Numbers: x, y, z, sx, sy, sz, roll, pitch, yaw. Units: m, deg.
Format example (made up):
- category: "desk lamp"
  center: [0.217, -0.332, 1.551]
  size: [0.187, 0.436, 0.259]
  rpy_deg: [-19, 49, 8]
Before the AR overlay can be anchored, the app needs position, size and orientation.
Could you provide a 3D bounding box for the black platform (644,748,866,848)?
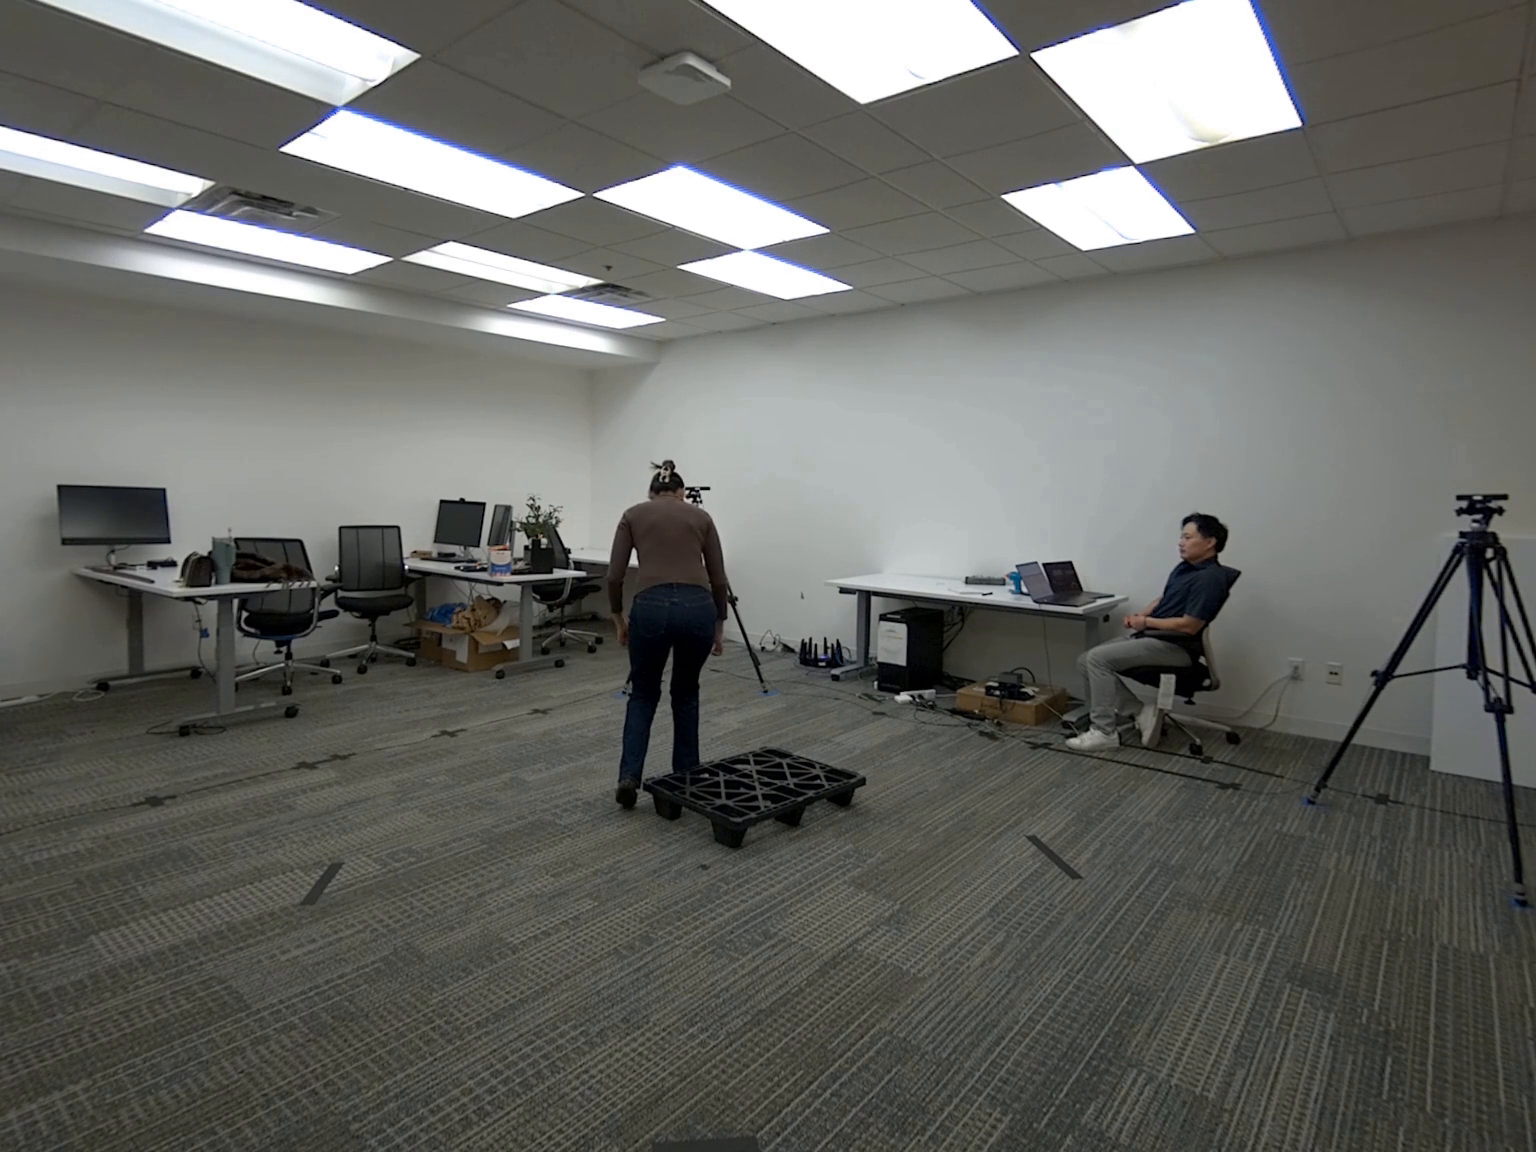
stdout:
- category: "black platform"
  center: [-0.055, 0.943, 3.688]
  size: [0.781, 0.142, 0.626]
  rpy_deg: [-5, 9, -44]
